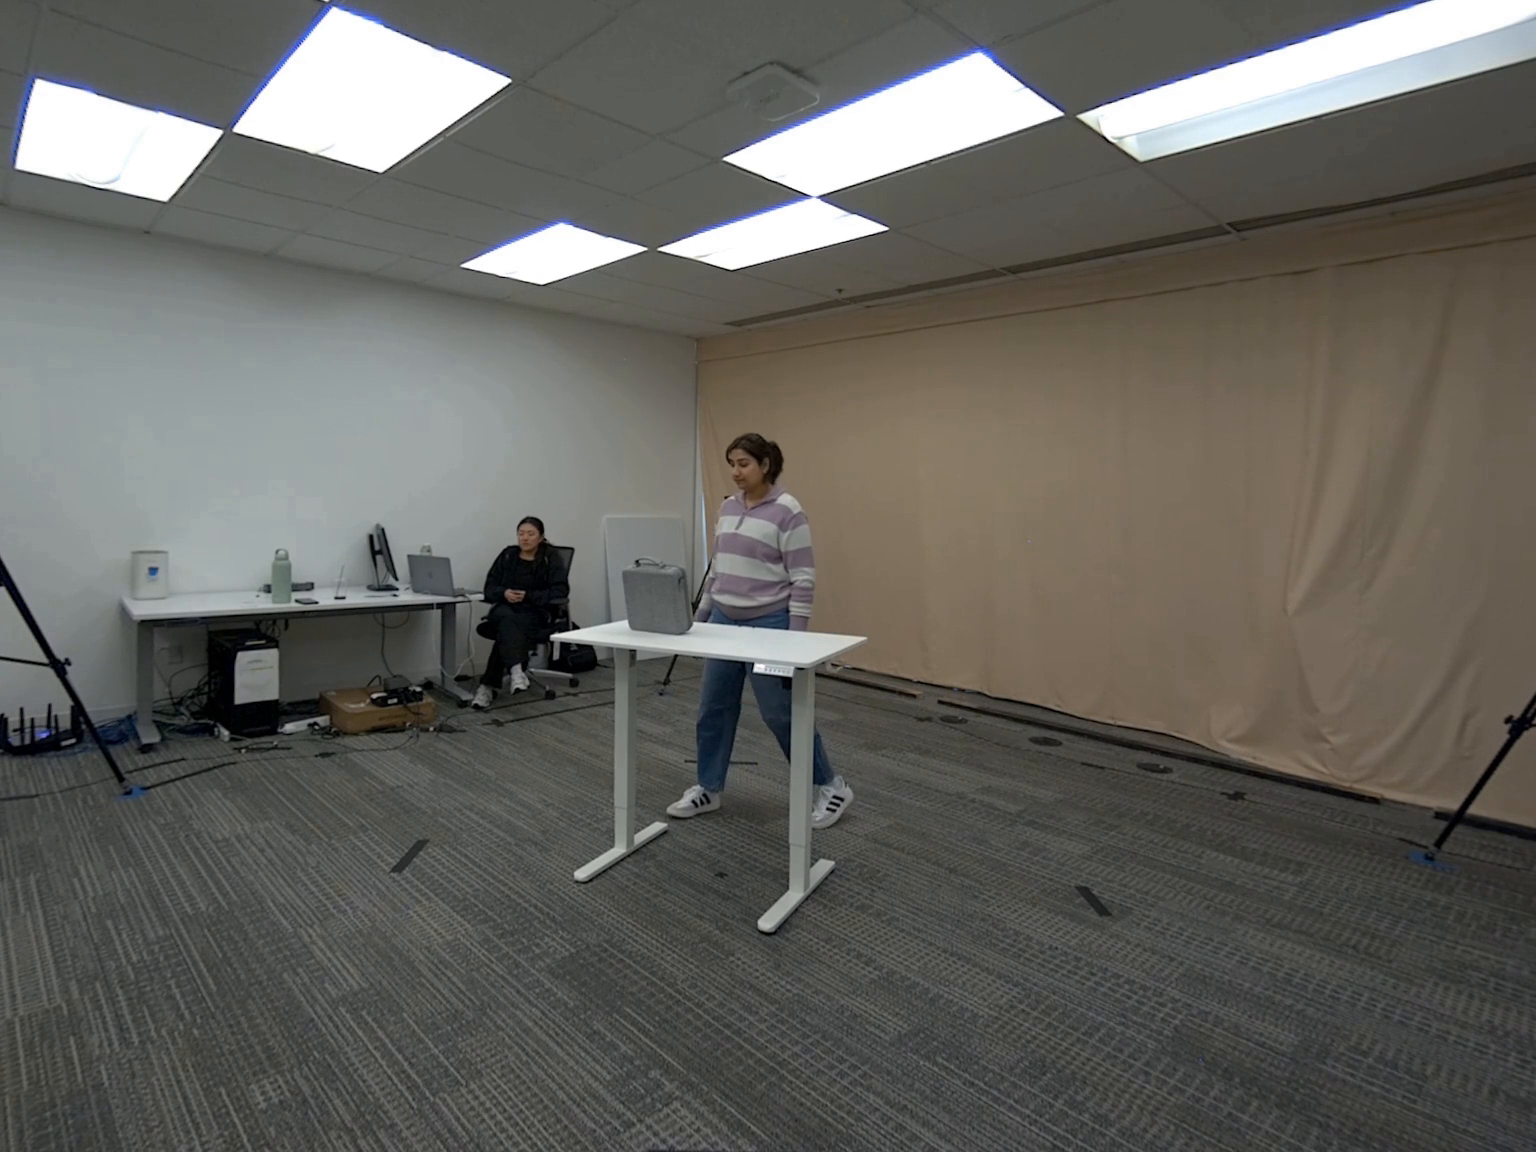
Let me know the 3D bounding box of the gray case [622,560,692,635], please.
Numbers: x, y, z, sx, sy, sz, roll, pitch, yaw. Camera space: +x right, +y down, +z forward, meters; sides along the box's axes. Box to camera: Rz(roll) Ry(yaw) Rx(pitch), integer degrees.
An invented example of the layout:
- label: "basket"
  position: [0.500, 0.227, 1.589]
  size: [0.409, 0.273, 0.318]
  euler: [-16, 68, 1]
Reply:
- label: "gray case"
  position: [-0.419, 0.081, 3.149]
  size: [0.262, 0.258, 0.103]
  euler: [2, 14, 32]
